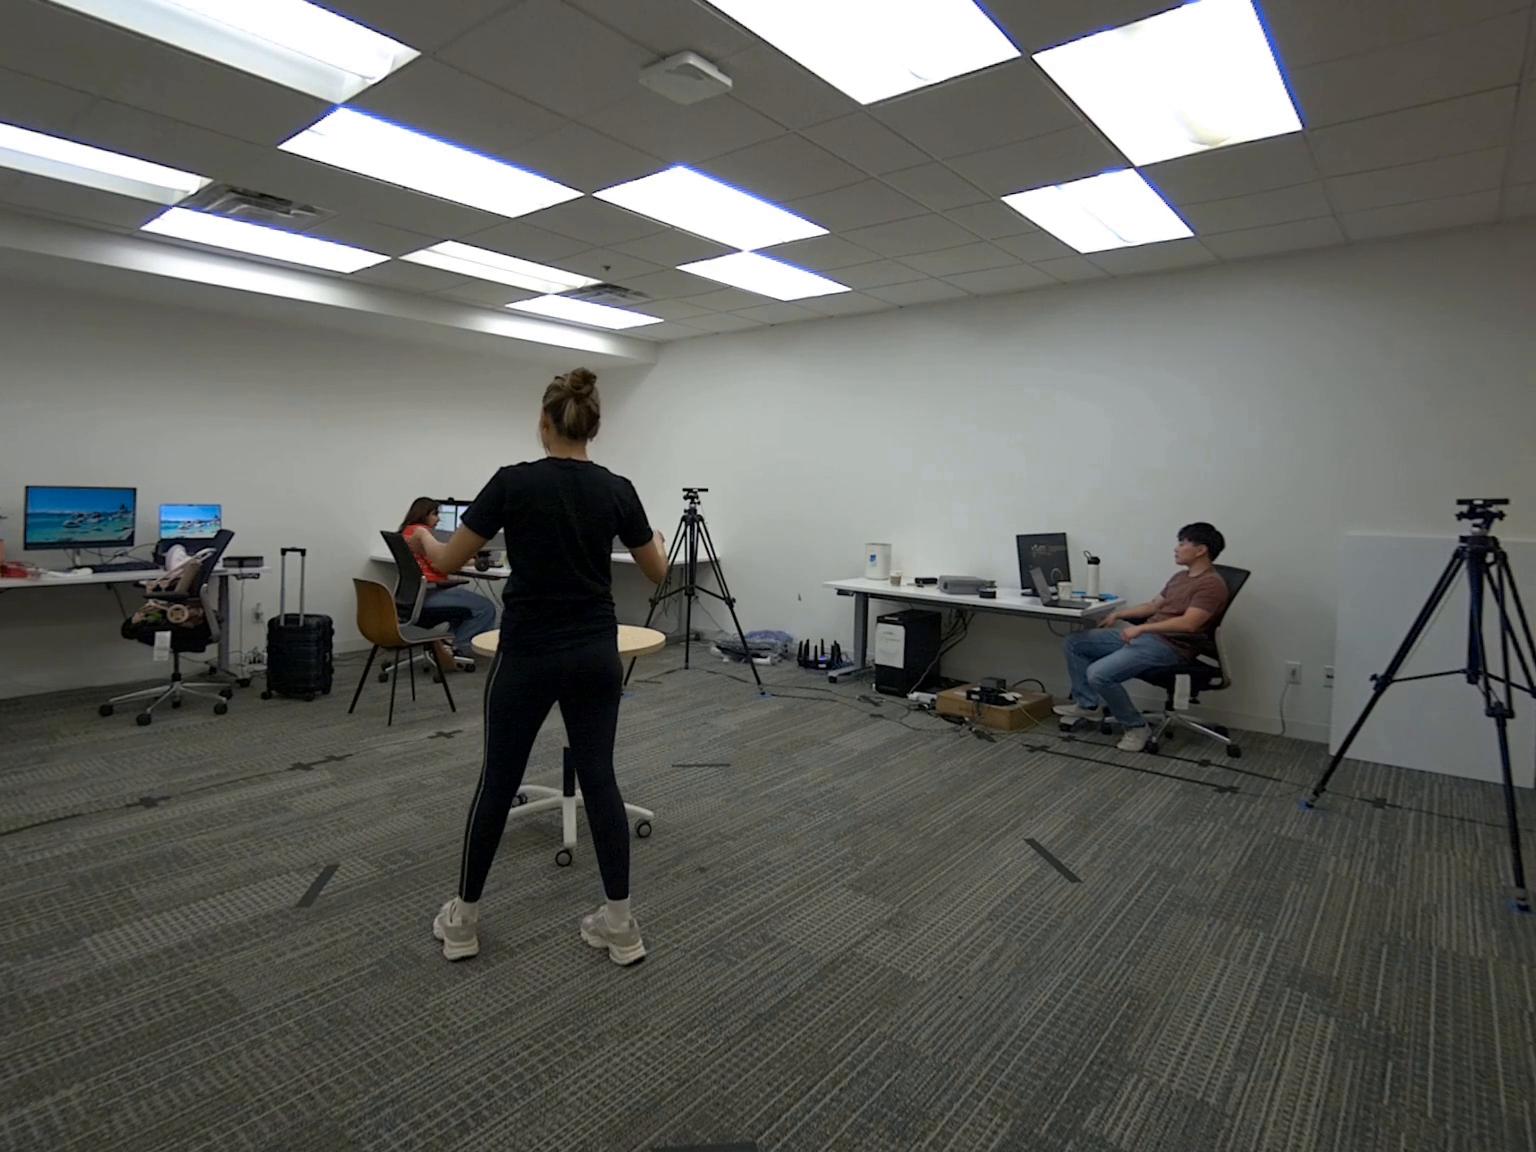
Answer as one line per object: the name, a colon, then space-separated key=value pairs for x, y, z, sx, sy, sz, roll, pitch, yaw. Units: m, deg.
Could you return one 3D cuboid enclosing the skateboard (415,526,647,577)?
skateboard: x=-0.785 y=-0.084 z=2.873 sx=0.768 sy=0.109 sz=0.200 roll=0 pitch=15 yaw=-22
